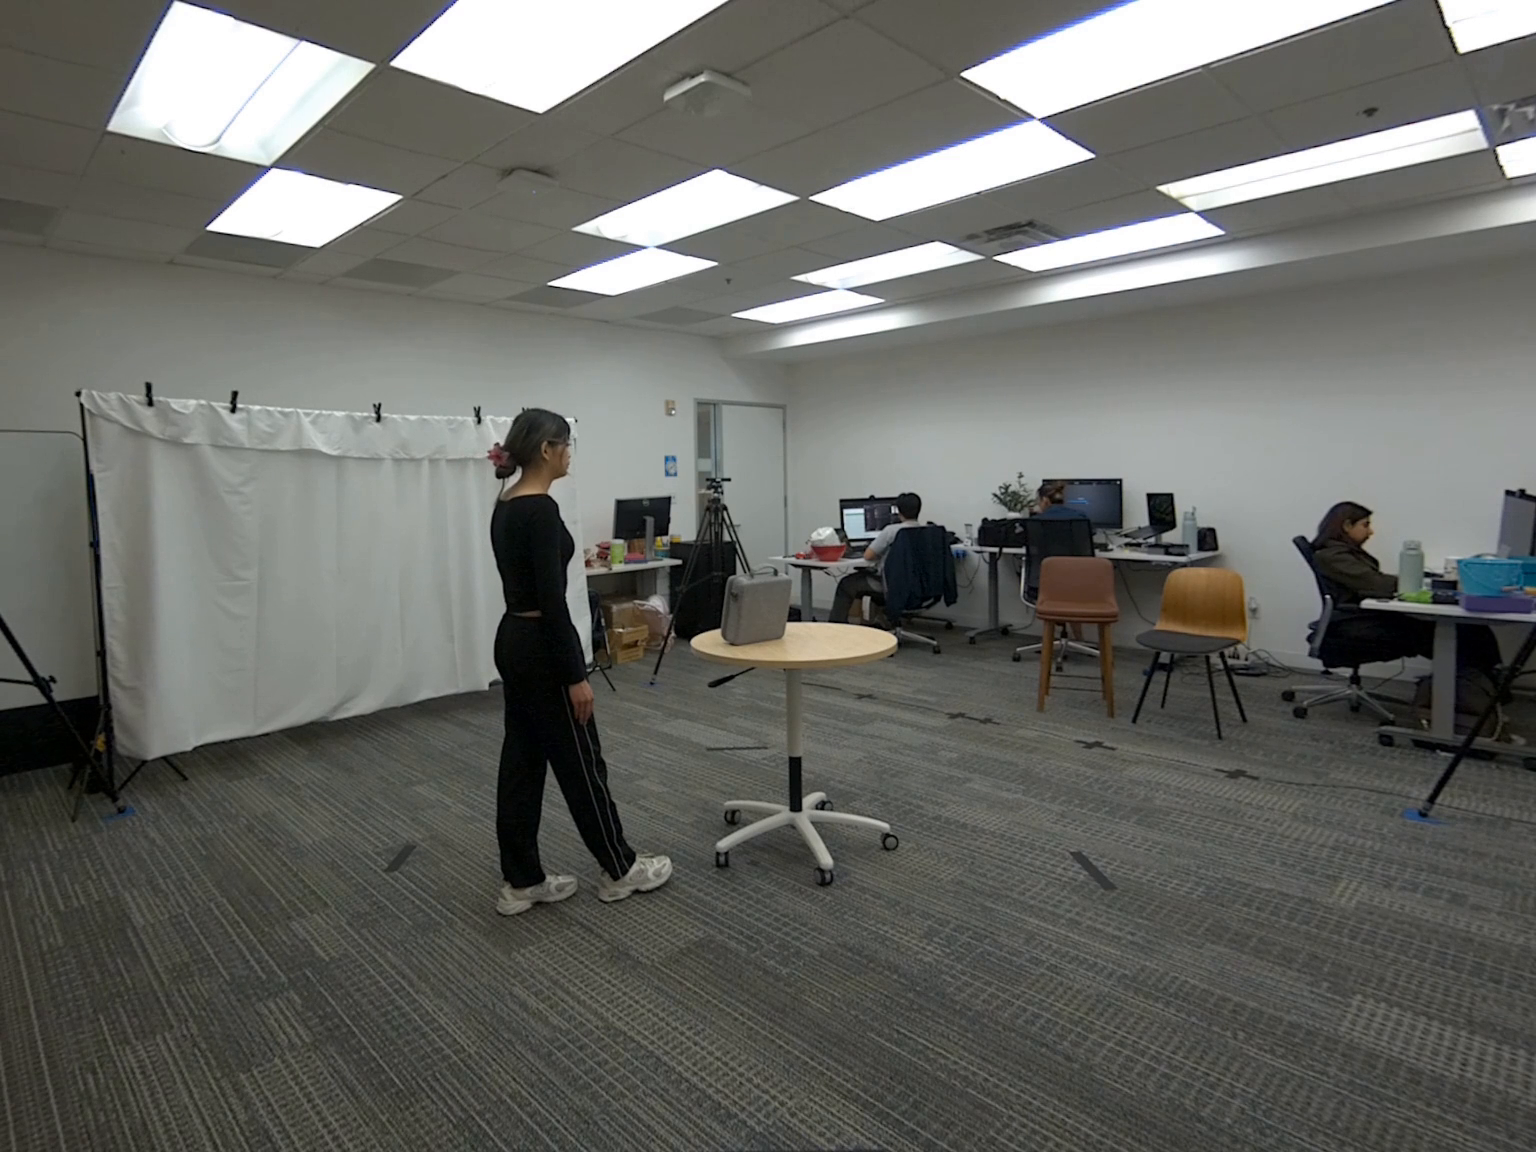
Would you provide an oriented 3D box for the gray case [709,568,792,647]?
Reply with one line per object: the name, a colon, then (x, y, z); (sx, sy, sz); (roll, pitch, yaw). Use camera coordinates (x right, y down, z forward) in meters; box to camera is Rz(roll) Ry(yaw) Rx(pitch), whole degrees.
gray case: (-0.040, 0.112, 3.158); (0.250, 0.258, 0.108); (-5, 17, -37)
